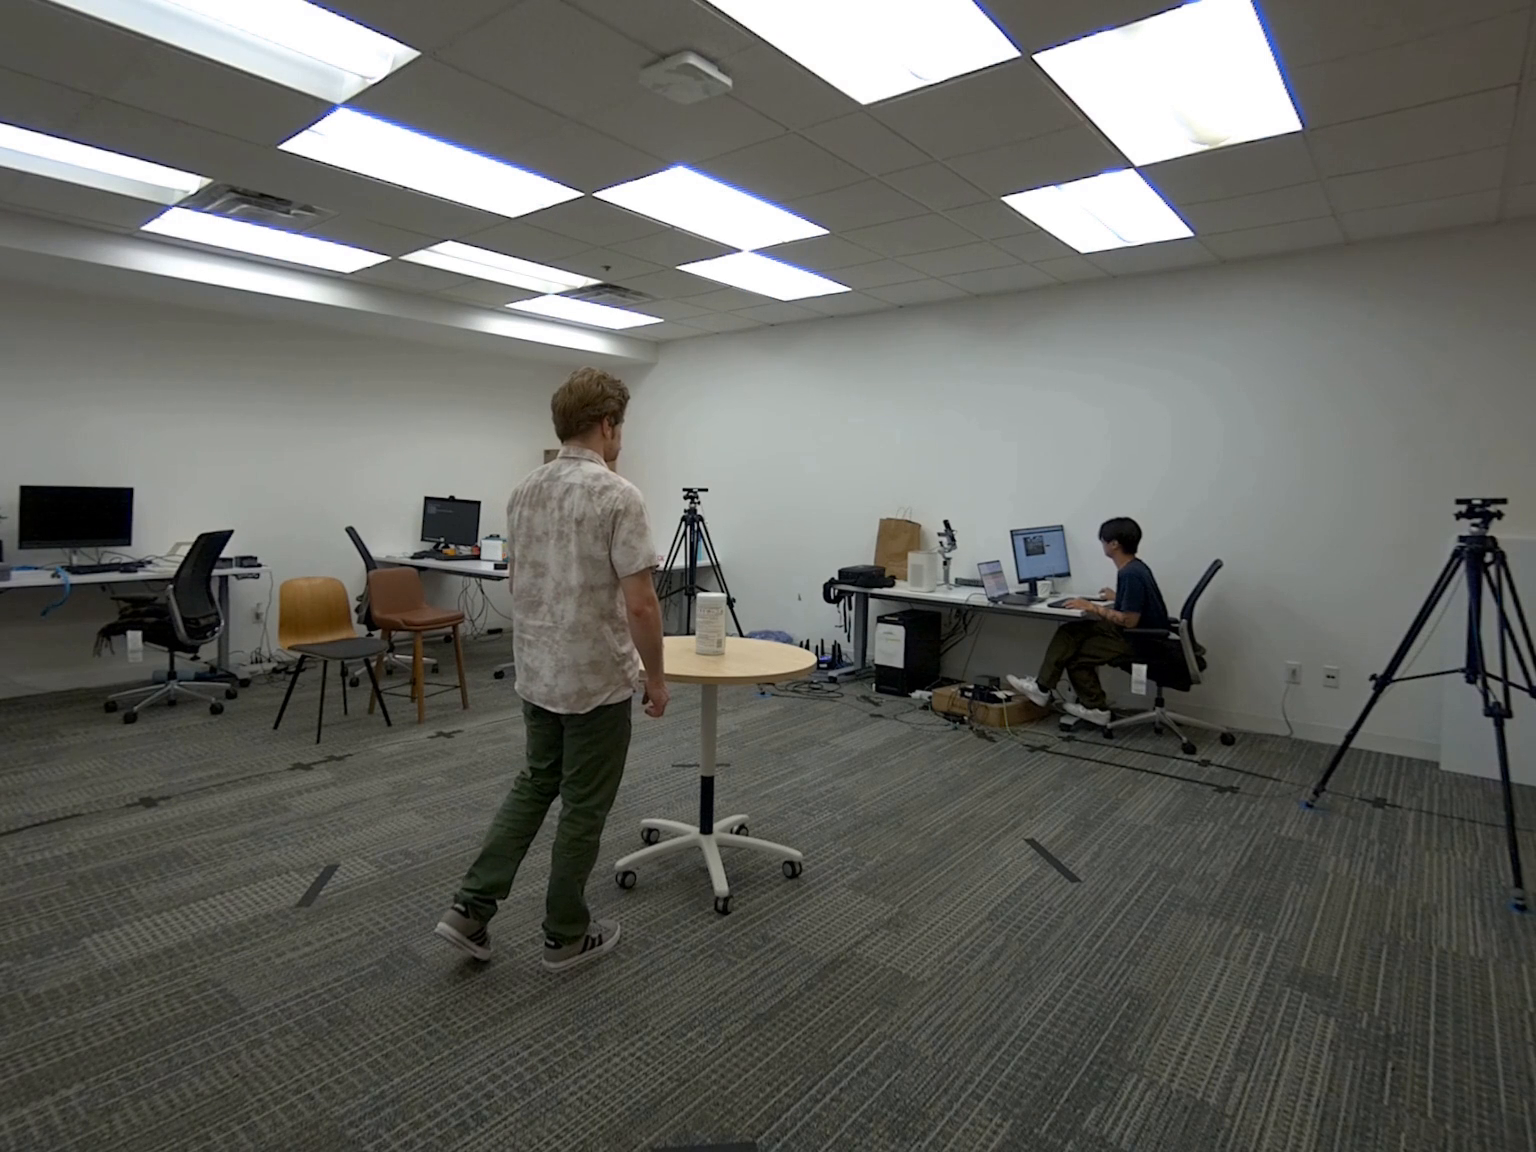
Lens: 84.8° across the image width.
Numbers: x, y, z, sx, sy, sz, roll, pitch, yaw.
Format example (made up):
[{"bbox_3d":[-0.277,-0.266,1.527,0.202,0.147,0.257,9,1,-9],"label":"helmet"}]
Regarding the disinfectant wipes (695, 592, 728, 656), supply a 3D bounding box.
[{"bbox_3d":[-0.215,0.170,3.076,0.118,0.217,0.118,1,3,-2],"label":"disinfectant wipes"}]
